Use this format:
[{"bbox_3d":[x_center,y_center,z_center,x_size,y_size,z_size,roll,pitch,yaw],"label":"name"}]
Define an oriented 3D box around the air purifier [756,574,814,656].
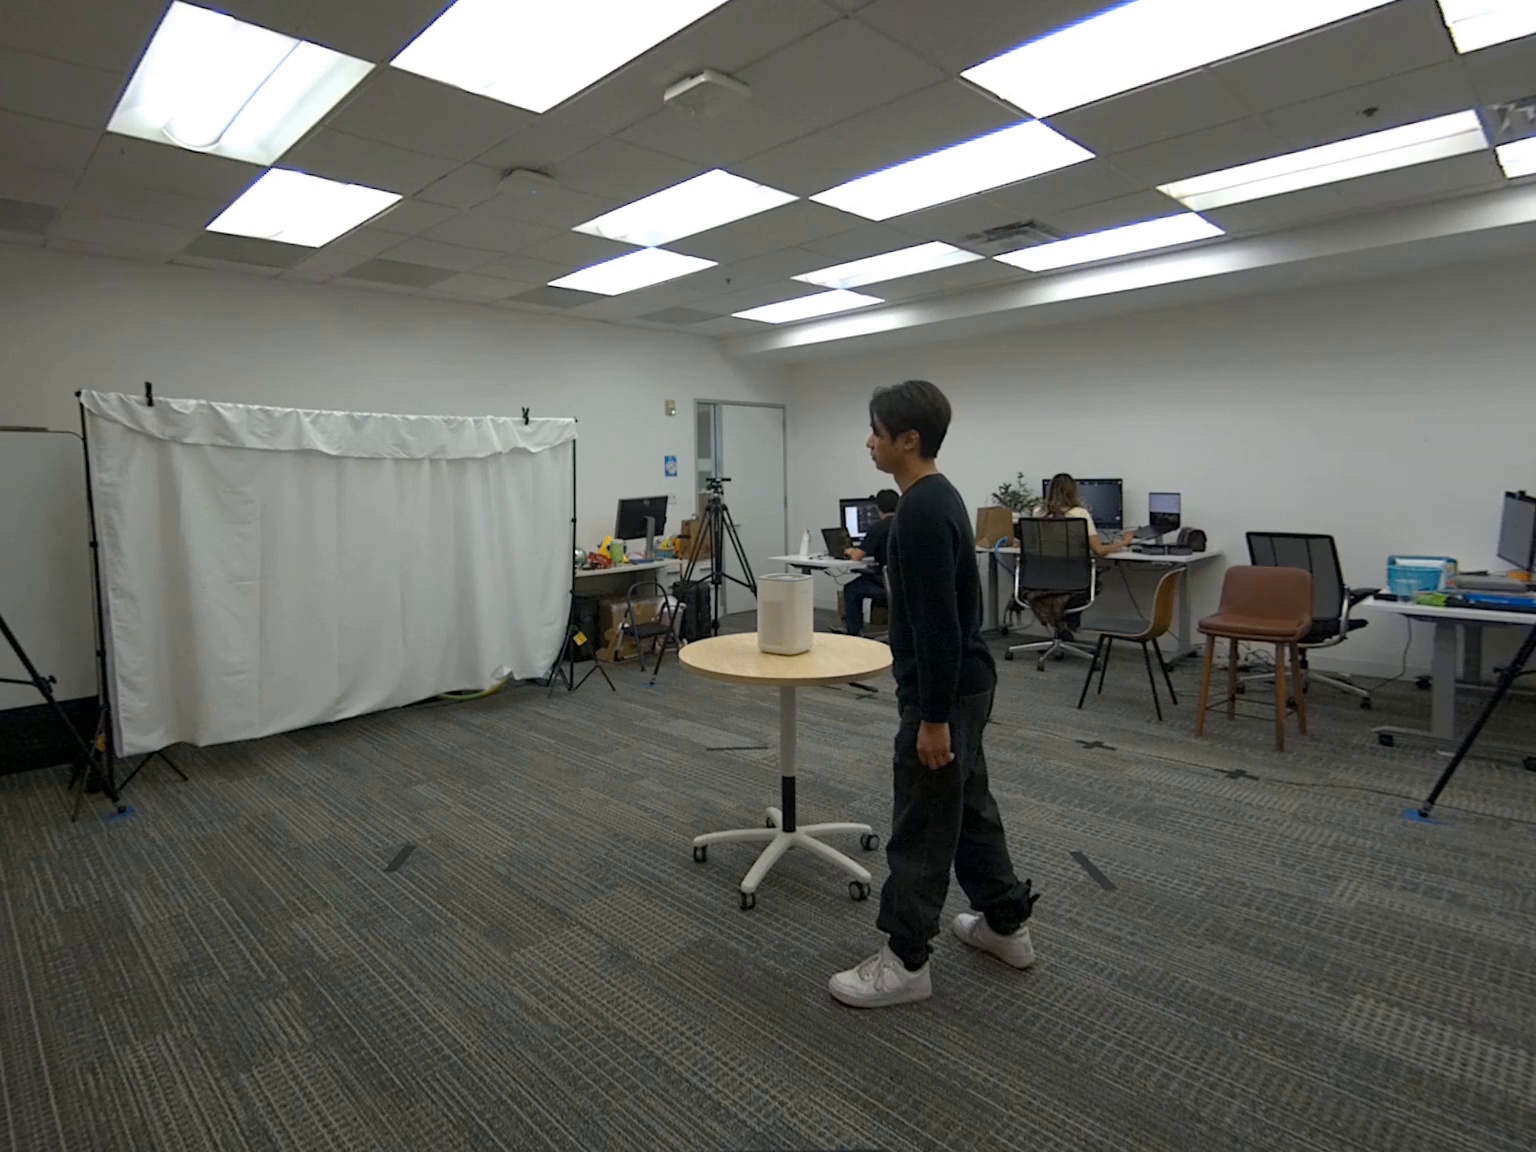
[{"bbox_3d":[0.064,0.131,3.007,0.176,0.264,0.167,2,6,33],"label":"air purifier"}]
